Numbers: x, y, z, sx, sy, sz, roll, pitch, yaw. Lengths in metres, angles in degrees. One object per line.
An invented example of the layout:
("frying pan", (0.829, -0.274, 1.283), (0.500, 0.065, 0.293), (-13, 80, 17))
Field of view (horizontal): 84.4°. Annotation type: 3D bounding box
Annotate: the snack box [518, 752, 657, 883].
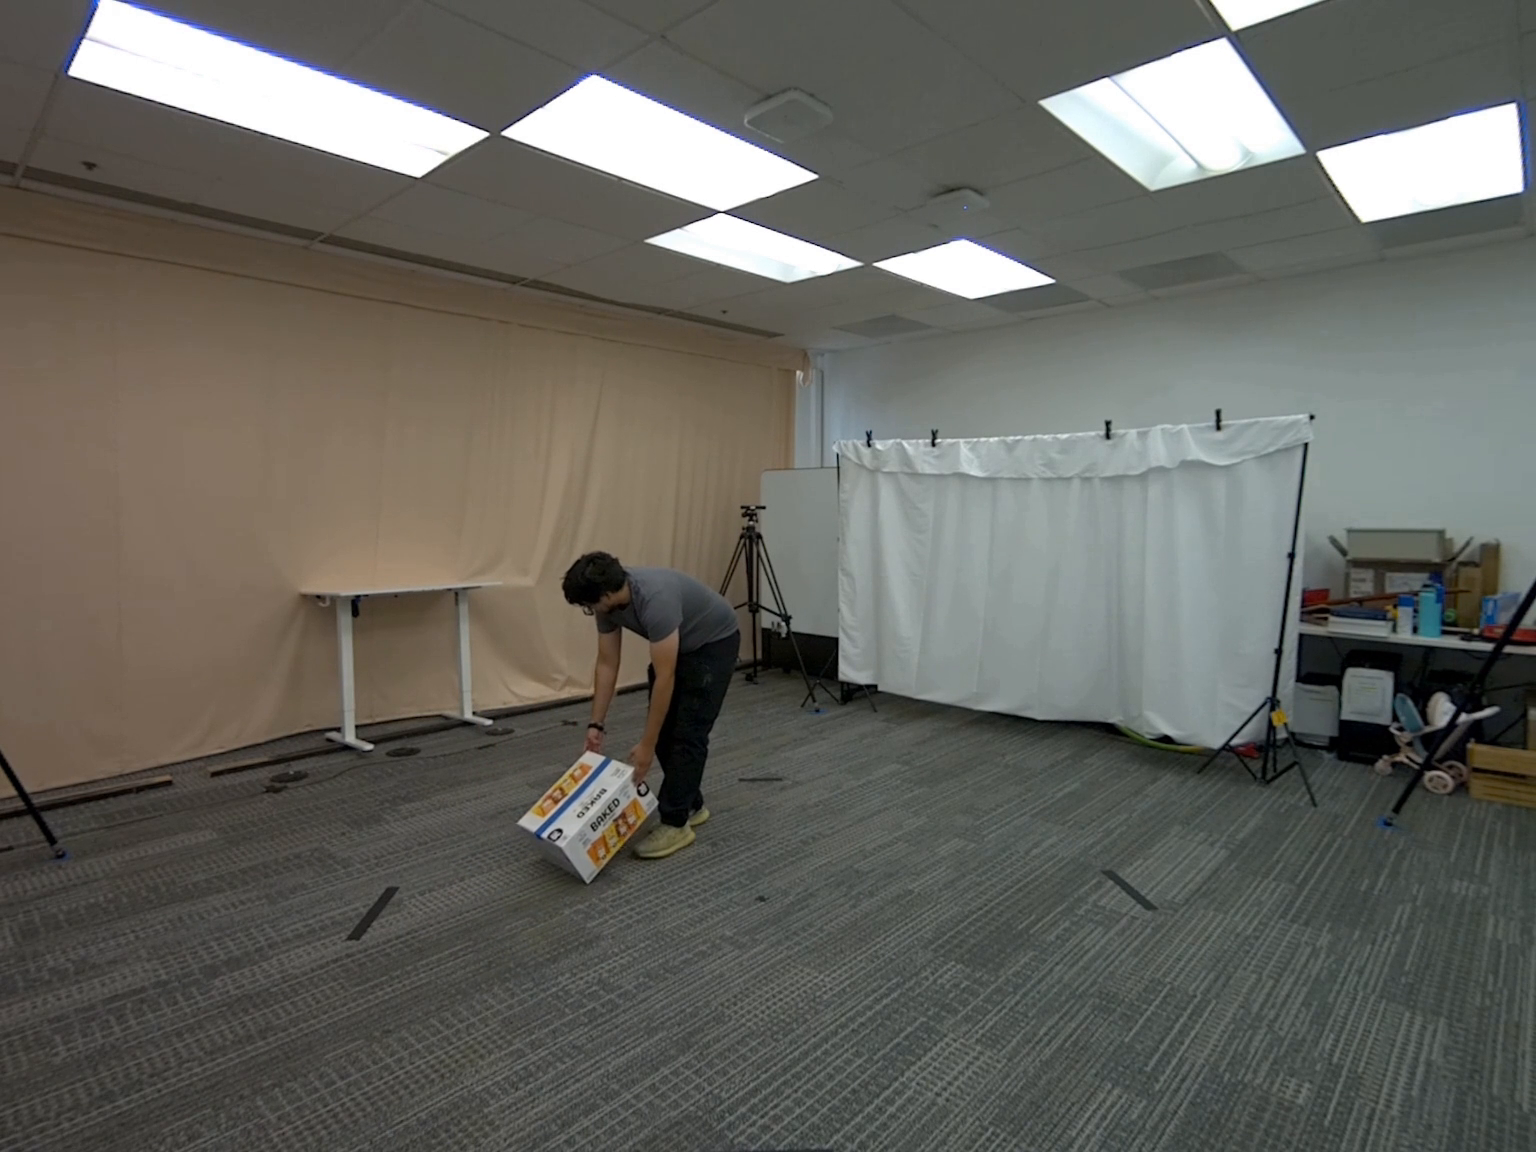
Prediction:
("snack box", (-0.703, 0.932, 3.296), (0.351, 0.201, 0.401), (2, 38, 47))
